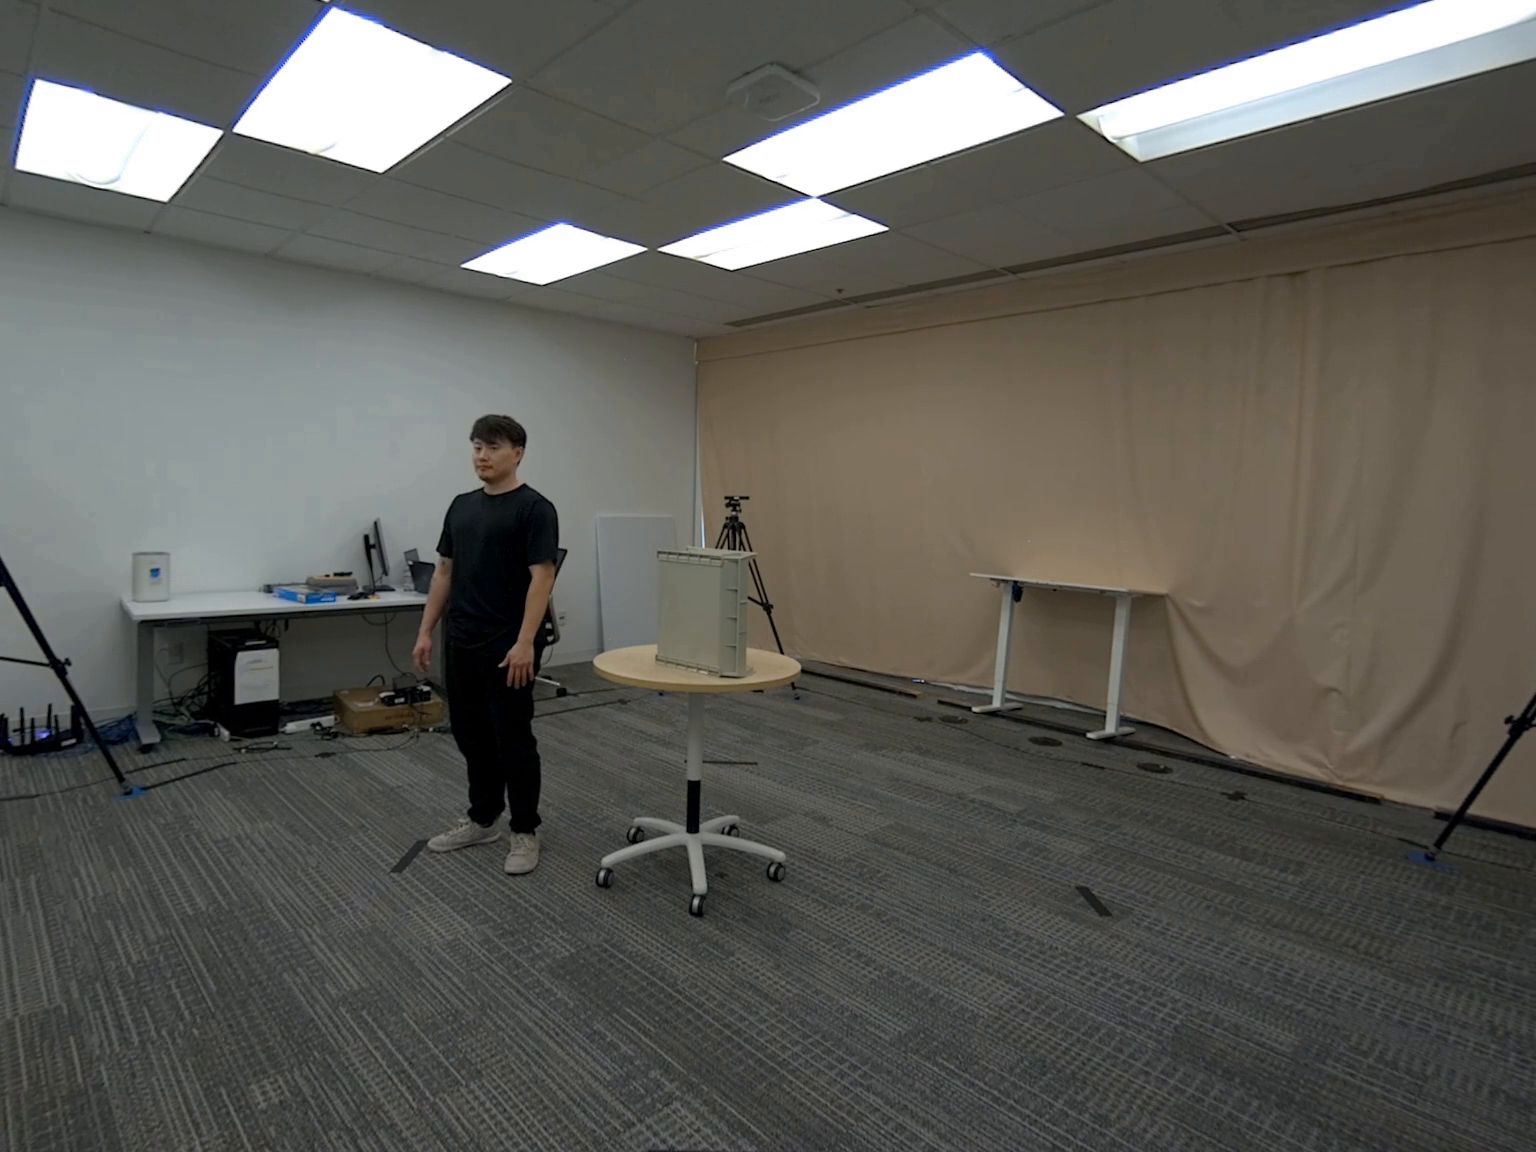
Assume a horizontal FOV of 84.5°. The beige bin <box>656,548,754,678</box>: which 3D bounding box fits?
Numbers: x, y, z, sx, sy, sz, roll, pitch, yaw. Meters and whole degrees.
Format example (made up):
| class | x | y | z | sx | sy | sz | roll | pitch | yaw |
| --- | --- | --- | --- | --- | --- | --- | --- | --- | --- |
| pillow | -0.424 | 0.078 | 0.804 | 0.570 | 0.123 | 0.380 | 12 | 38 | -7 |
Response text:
| class | x | y | z | sx | sy | sz | roll | pitch | yaw |
| --- | --- | --- | --- | --- | --- | --- | --- | --- | --- |
| beige bin | -0.210 | 0.121 | 2.989 | 0.387 | 0.421 | 0.185 | 6 | 7 | 39 |
